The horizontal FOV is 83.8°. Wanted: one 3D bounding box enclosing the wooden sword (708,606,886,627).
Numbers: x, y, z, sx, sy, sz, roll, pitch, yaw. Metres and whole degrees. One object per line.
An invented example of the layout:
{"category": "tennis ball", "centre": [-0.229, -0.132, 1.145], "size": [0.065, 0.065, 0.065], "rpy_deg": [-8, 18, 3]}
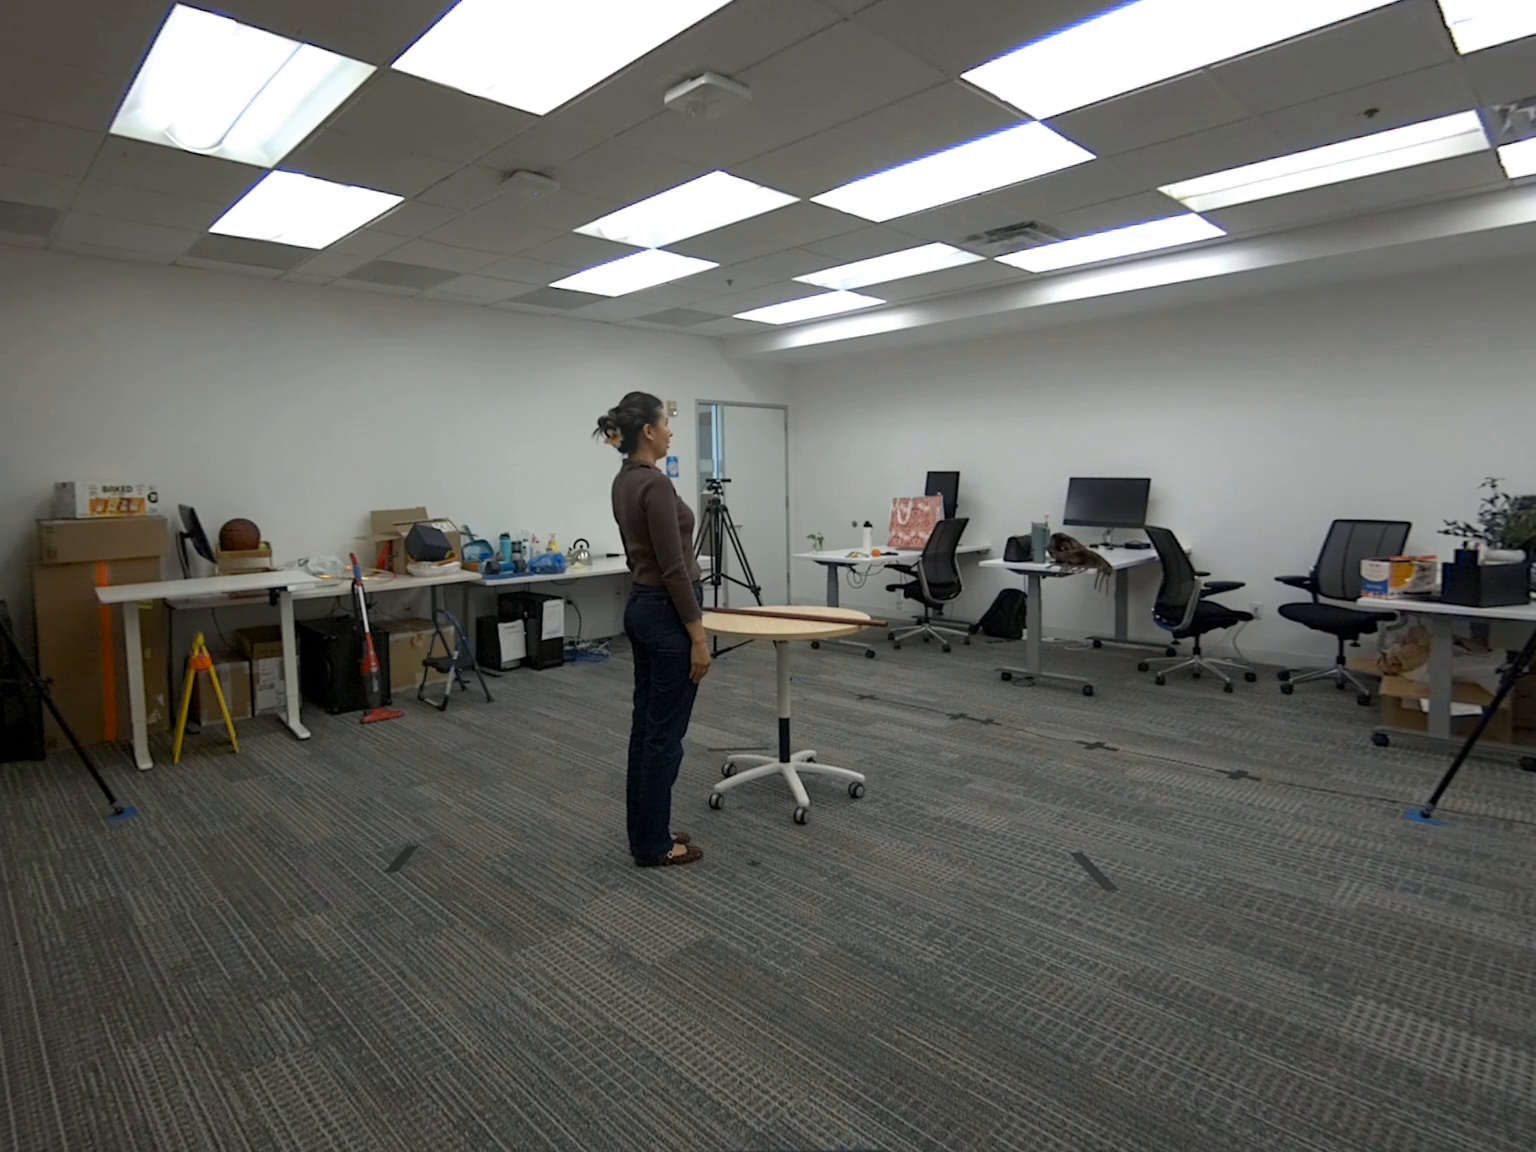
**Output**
{"category": "wooden sword", "centre": [0.092, 0.181, 3.770], "size": [1.054, 0.052, 0.023], "rpy_deg": [3, -29, 36]}
